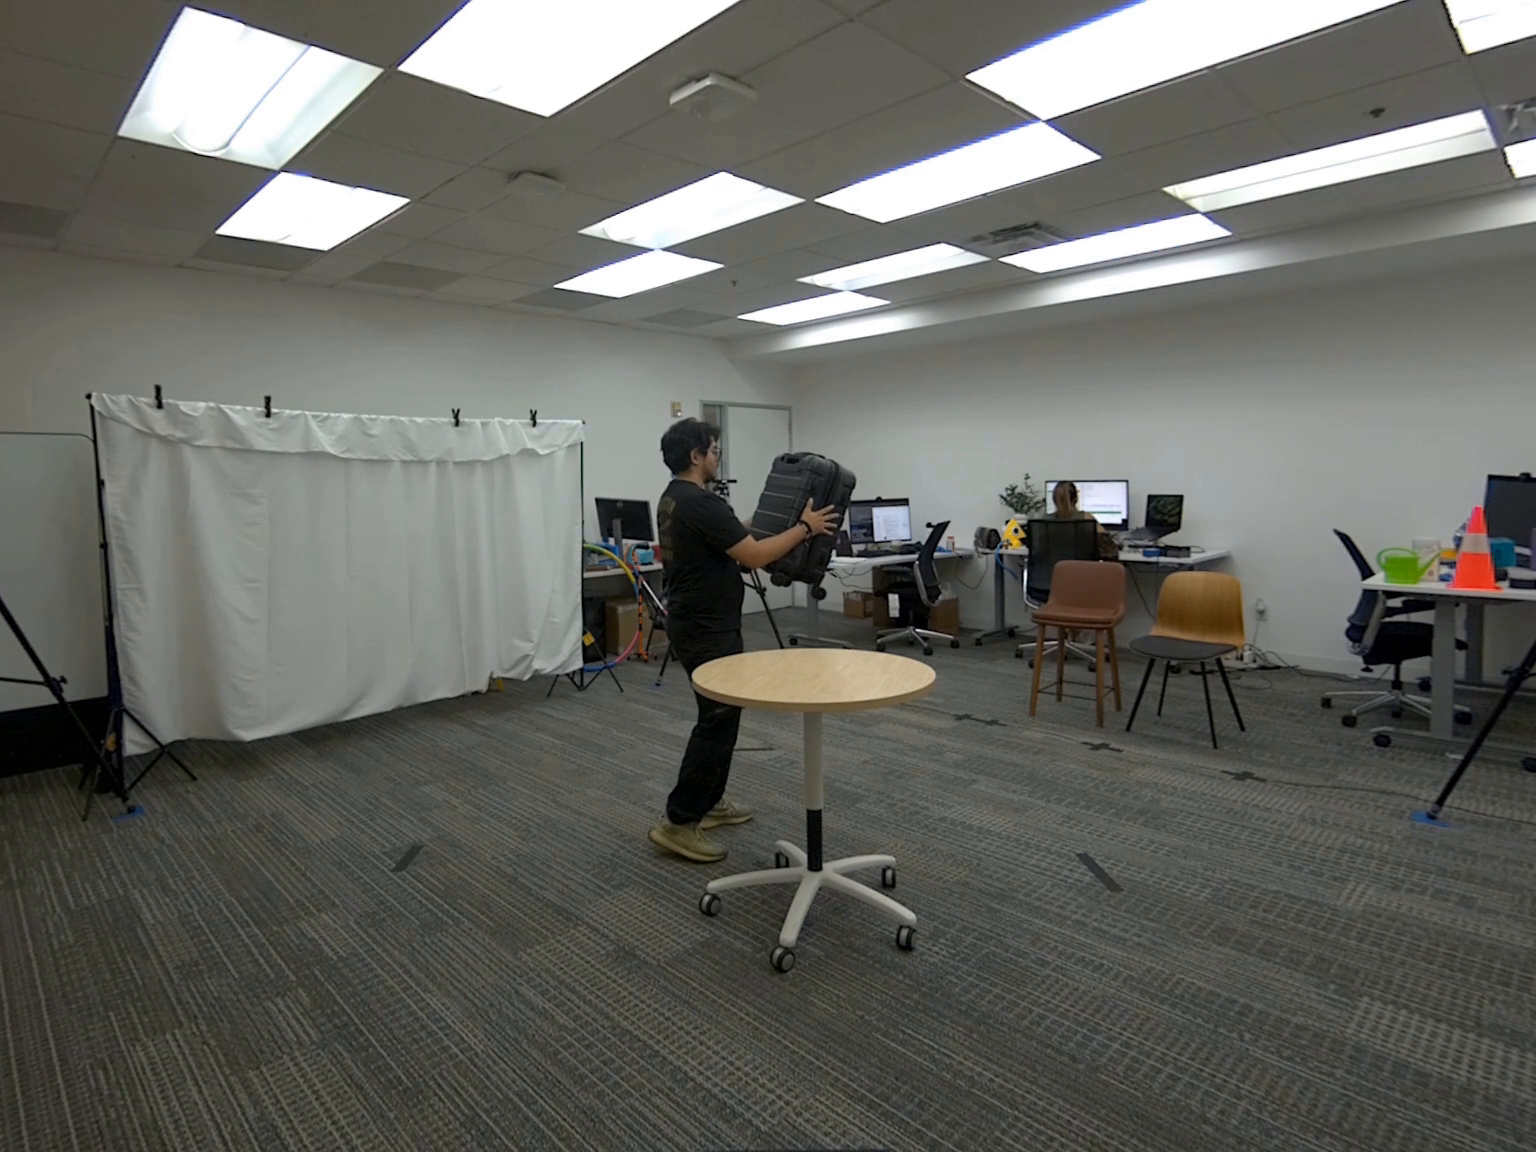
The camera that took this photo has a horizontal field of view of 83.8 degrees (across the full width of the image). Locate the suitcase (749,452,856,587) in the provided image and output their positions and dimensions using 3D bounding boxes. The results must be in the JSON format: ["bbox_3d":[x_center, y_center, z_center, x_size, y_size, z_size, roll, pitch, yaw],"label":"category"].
[{"bbox_3d":[0.118,-0.226,3.498,0.241,0.550,0.386,19,-1,-27],"label":"suitcase"}]
